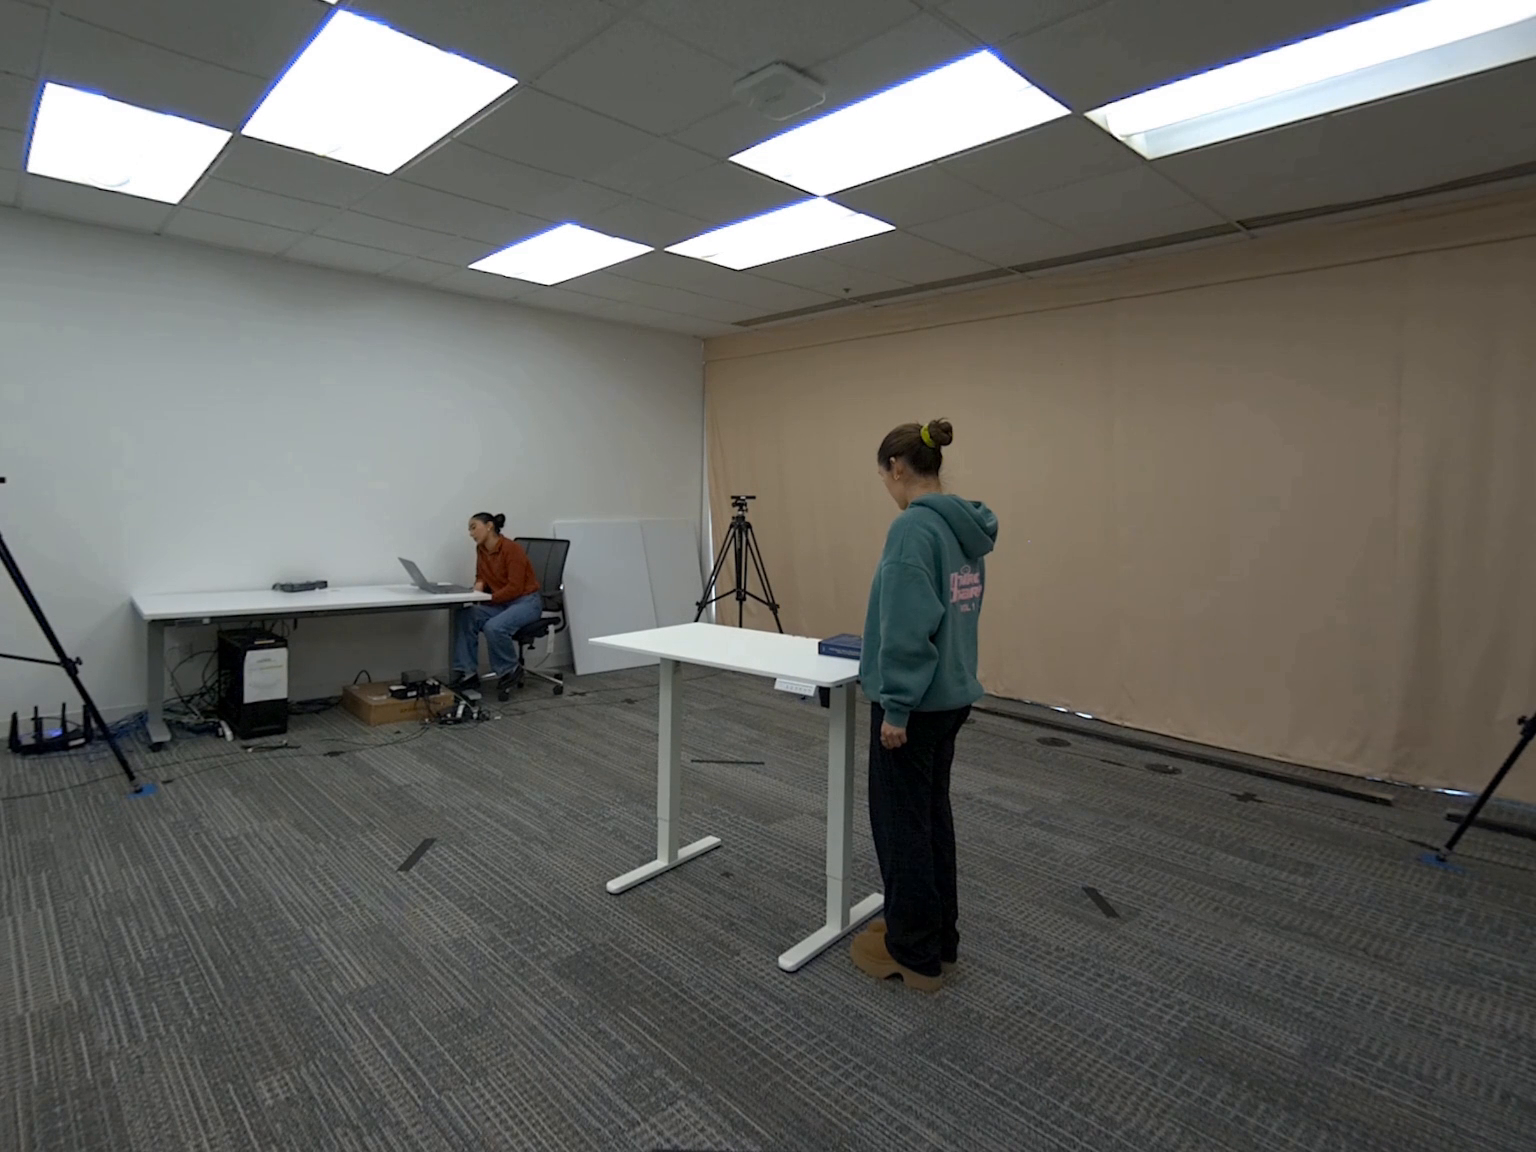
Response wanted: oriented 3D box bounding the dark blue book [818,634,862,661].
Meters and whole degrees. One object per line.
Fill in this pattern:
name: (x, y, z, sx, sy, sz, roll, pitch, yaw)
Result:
dark blue book: (0.310, 0.241, 2.741, 0.251, 0.045, 0.160, 5, 10, 35)
